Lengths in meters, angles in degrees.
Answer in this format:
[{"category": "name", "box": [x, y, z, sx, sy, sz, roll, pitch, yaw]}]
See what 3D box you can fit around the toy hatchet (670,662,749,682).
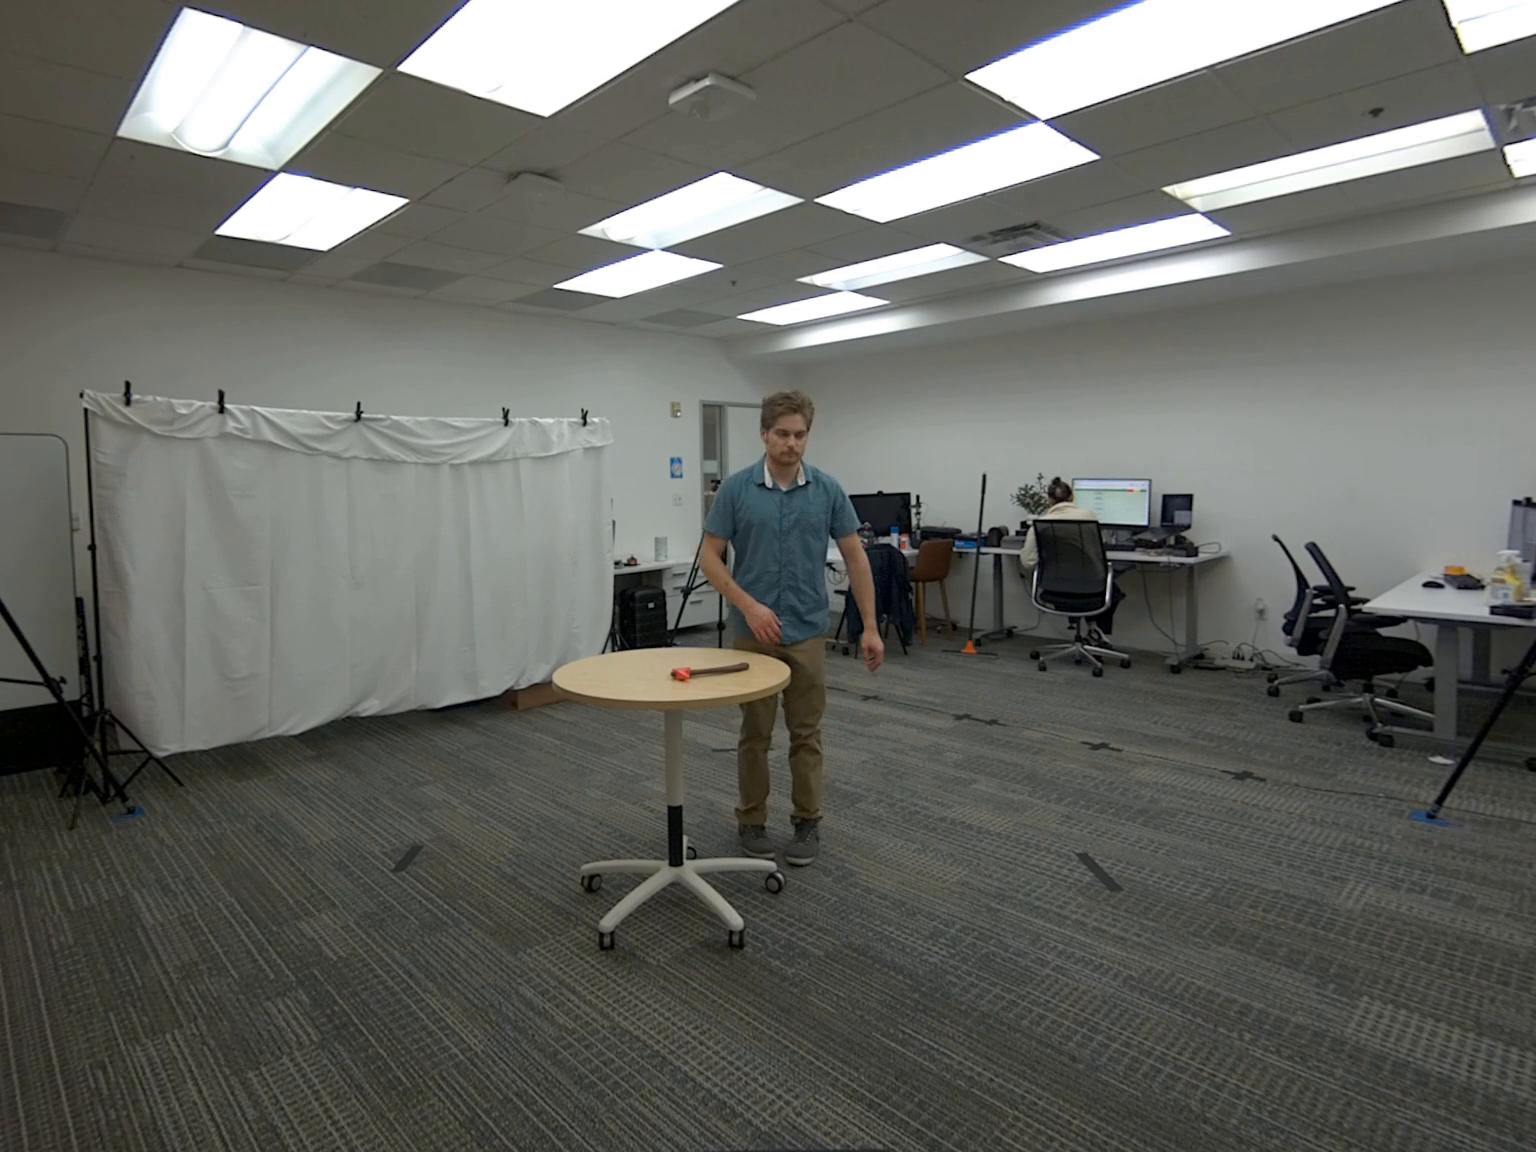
[{"category": "toy hatchet", "box": [-0.197, 0.304, 2.721, 0.263, 0.029, 0.135, -4, 2, -42]}]
